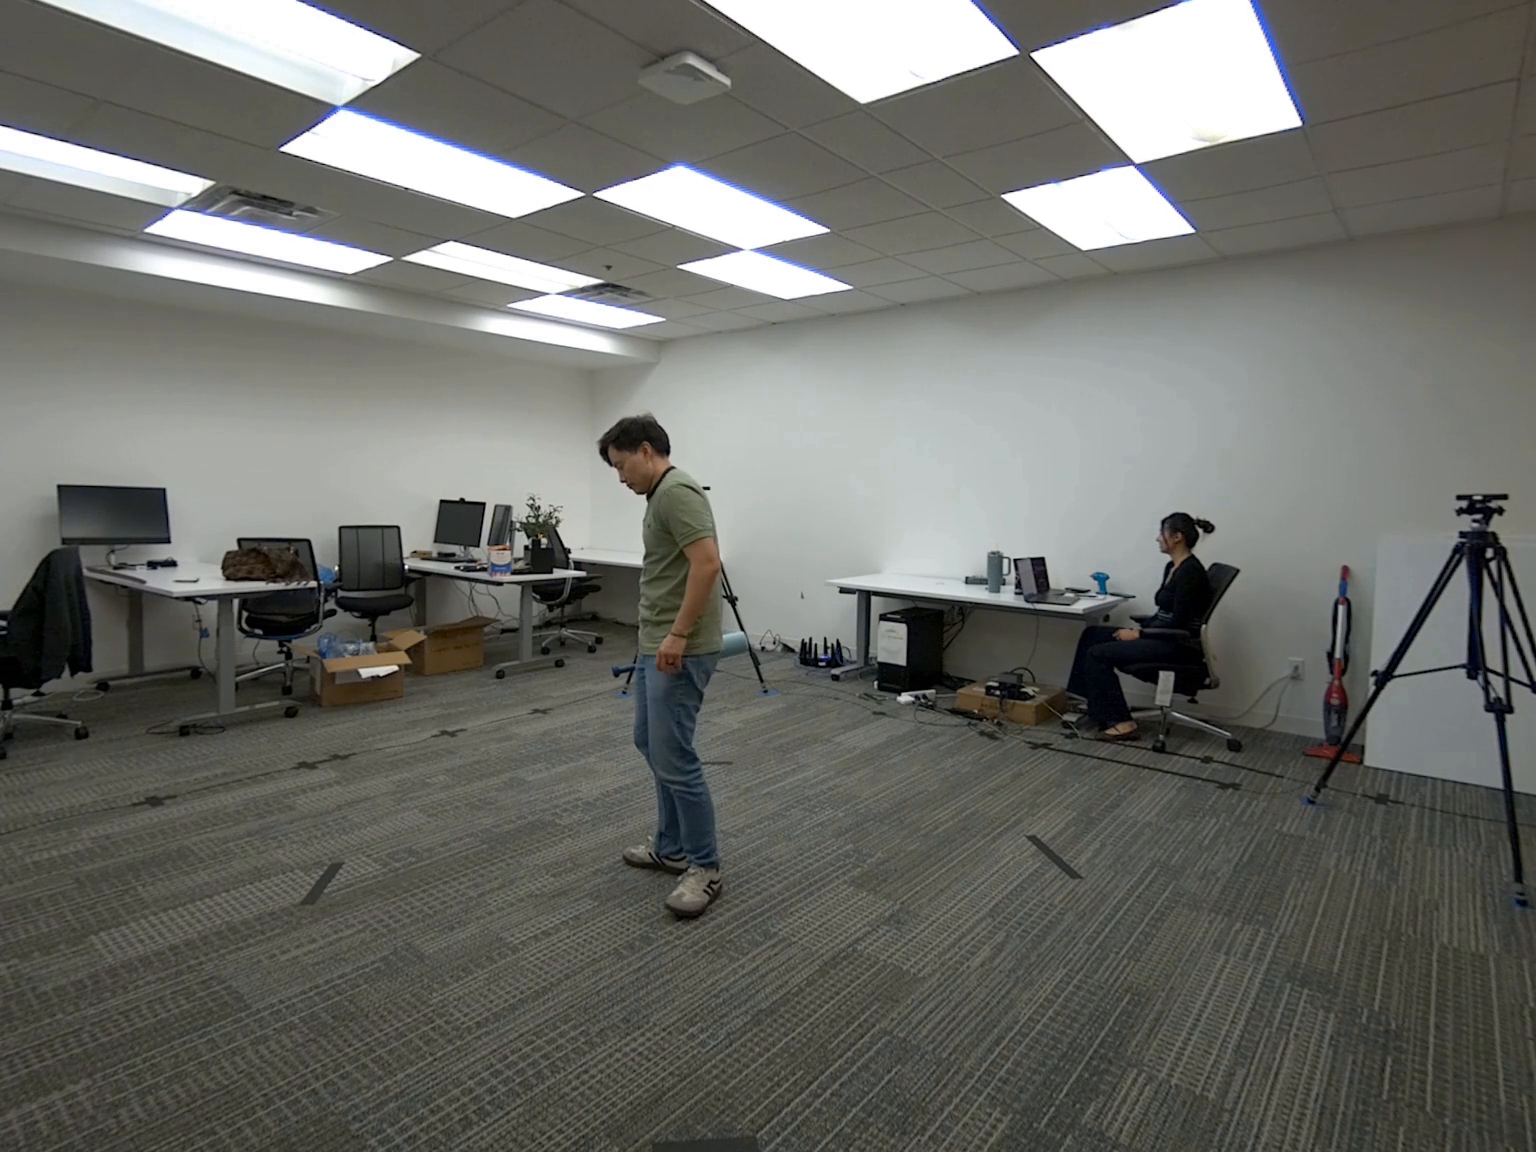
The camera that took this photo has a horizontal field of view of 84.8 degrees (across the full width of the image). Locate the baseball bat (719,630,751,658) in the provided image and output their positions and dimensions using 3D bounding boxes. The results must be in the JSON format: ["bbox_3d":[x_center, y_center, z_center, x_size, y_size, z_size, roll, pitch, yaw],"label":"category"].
[{"bbox_3d":[-0.362,0.318,3.337,0.543,0.089,0.089,-13,5,-1],"label":"baseball bat"}]
